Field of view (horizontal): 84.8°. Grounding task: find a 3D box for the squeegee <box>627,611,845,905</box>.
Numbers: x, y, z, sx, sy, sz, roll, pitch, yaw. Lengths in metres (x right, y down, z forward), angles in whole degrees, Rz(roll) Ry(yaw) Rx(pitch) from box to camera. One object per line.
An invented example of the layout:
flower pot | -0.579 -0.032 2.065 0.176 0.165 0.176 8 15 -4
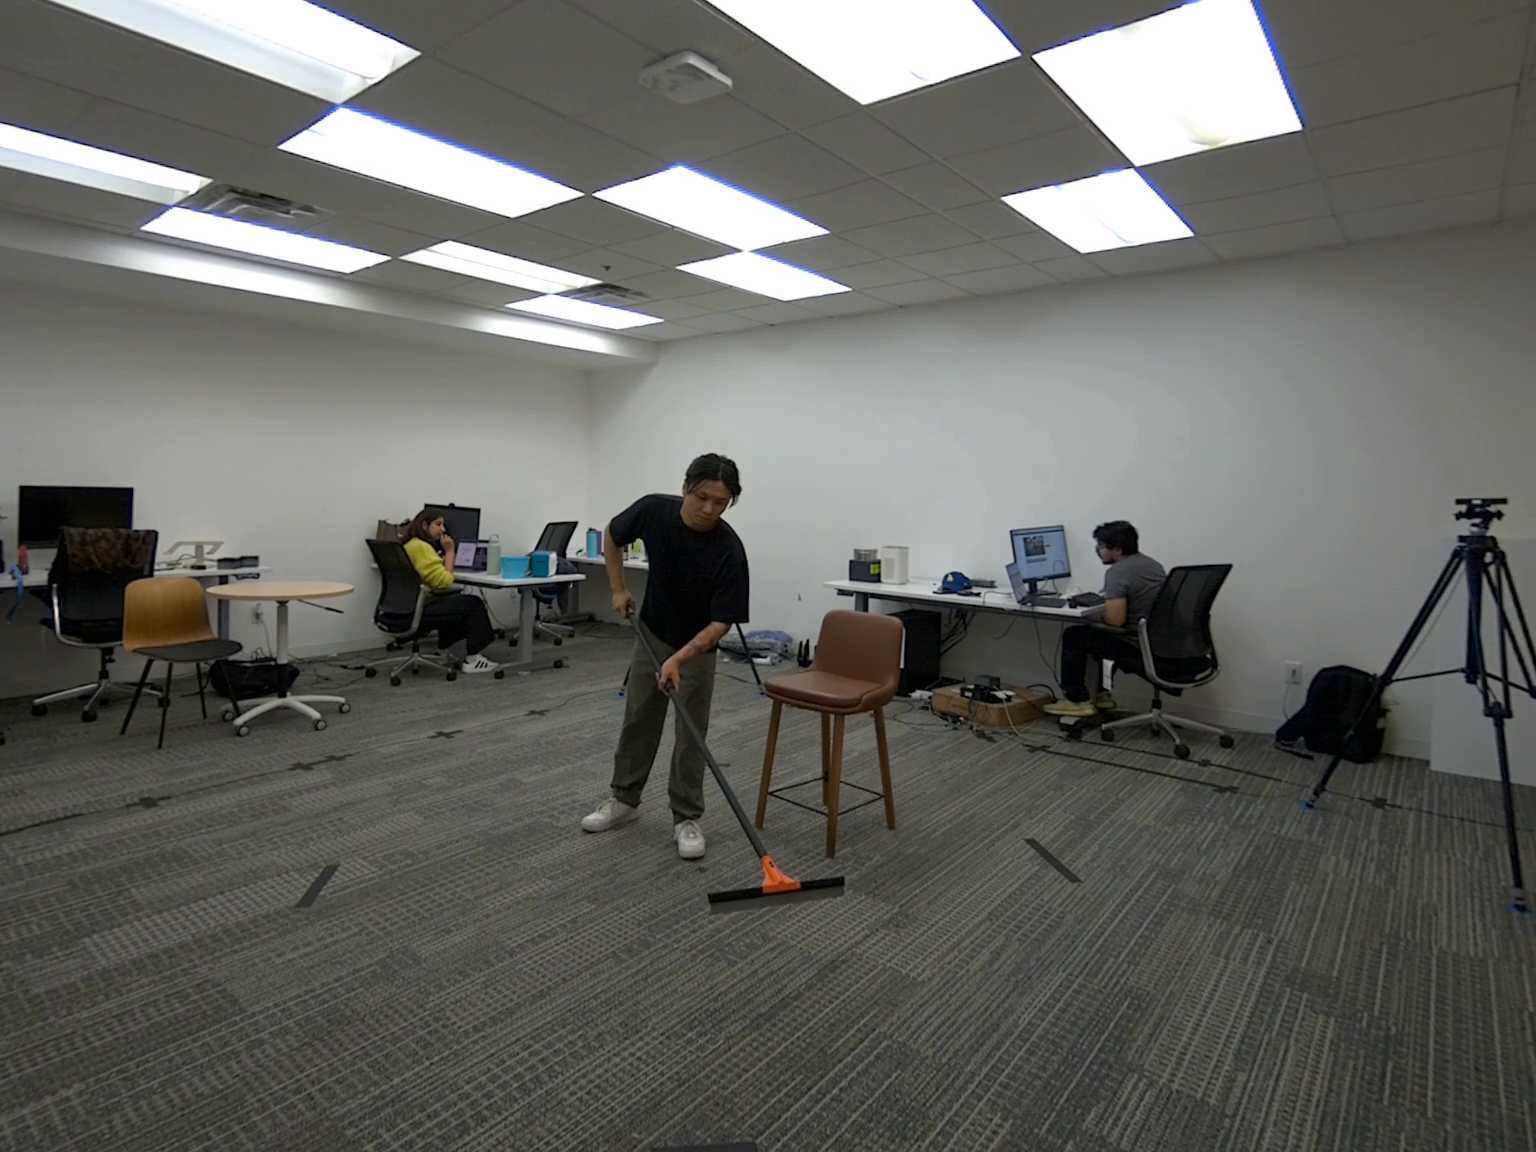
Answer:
squeegee | -0.293 0.454 2.891 0.425 0.052 1.603 3 29 -31
